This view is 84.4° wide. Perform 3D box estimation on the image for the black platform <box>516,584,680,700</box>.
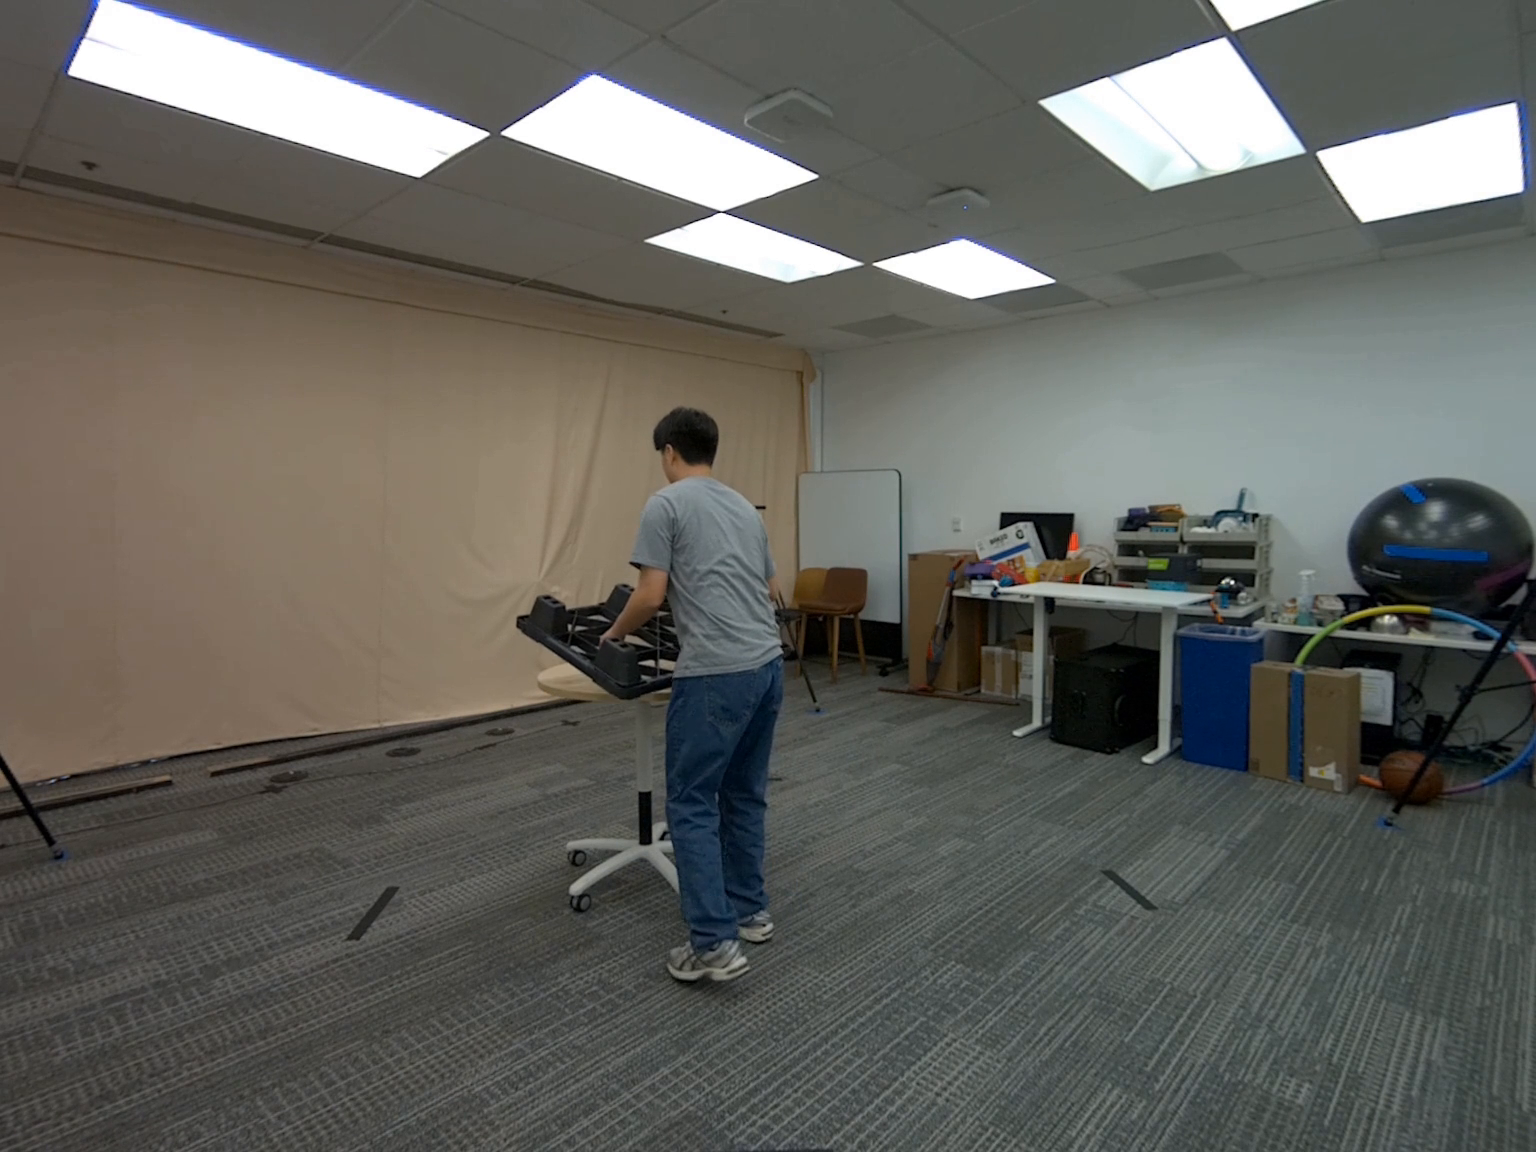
[{"bbox_3d":[-0.382,0.179,2.958,0.627,0.142,0.782,24,21,39],"label":"black platform"}]
